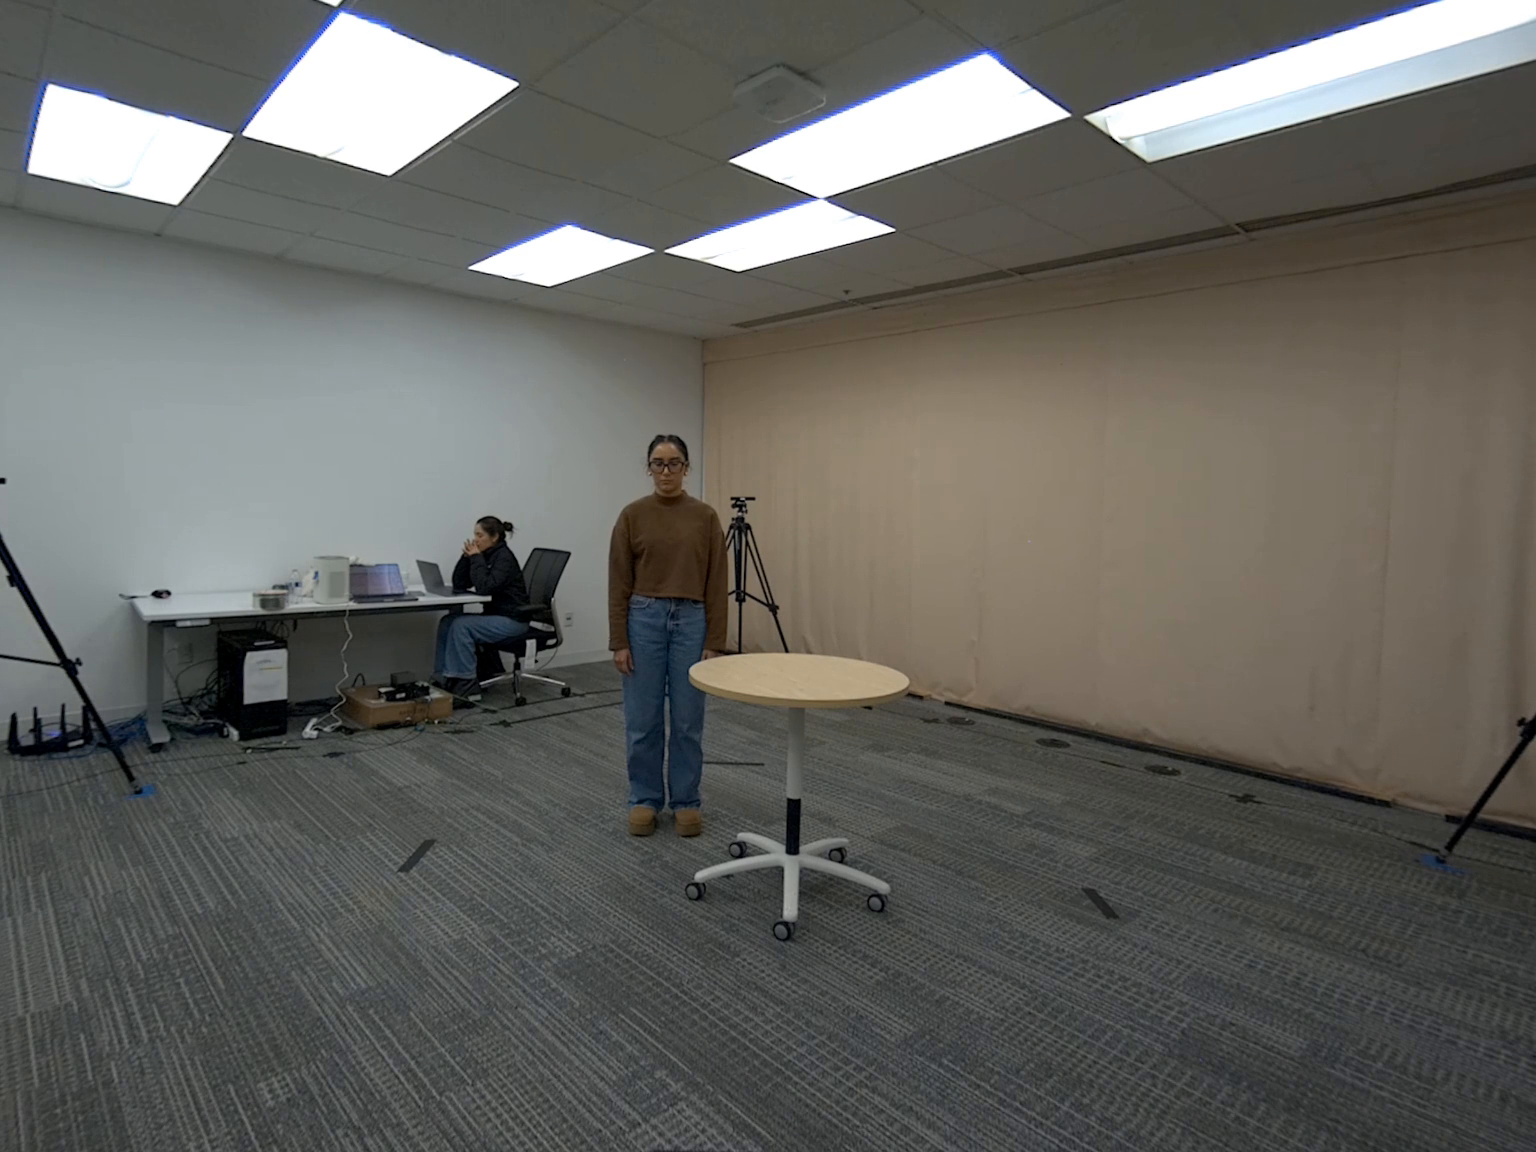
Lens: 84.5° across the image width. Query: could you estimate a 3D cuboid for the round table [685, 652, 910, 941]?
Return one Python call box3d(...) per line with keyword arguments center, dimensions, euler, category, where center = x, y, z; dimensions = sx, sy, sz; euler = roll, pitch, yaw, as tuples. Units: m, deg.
box3d(center=(0.071, 0.732, 2.969), dimensions=(0.784, 0.784, 0.788), euler=(2, 4, -2), category="round table")
